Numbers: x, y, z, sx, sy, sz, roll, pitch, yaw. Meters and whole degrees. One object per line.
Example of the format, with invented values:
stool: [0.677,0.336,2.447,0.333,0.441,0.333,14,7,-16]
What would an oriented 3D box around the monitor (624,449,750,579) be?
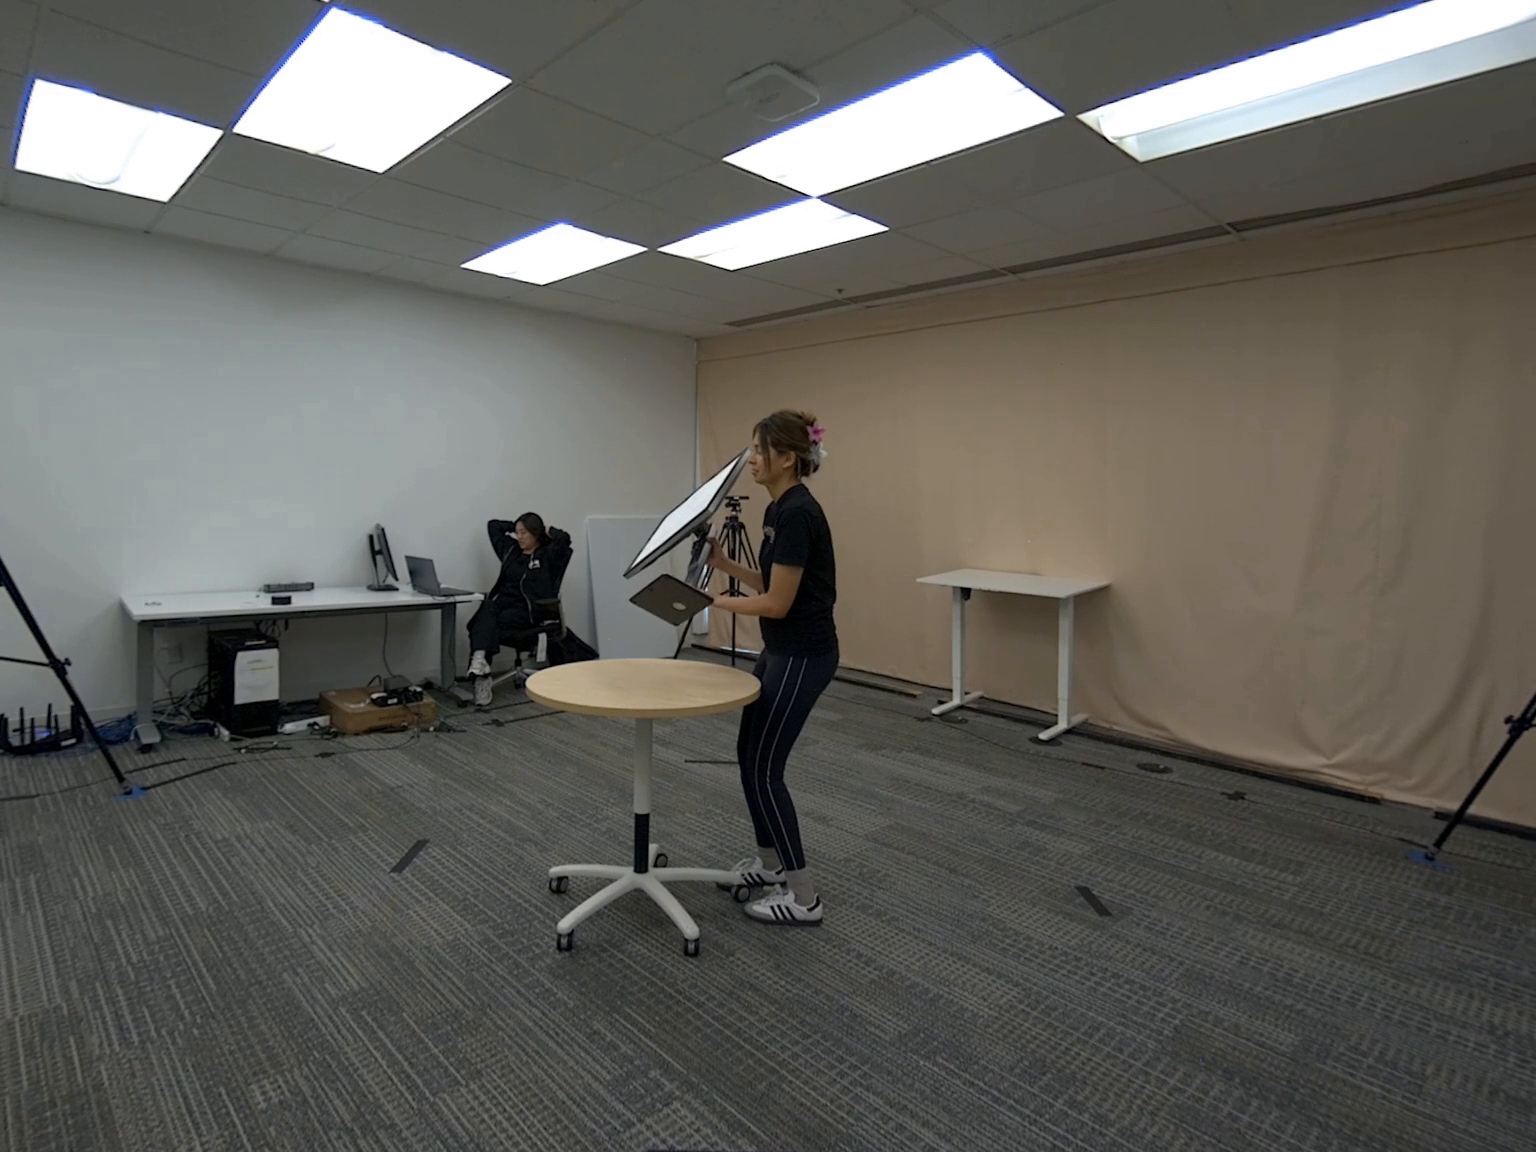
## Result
monitor: [-0.294,-0.122,2.956,0.182,0.530,0.544,33,-39,-26]
